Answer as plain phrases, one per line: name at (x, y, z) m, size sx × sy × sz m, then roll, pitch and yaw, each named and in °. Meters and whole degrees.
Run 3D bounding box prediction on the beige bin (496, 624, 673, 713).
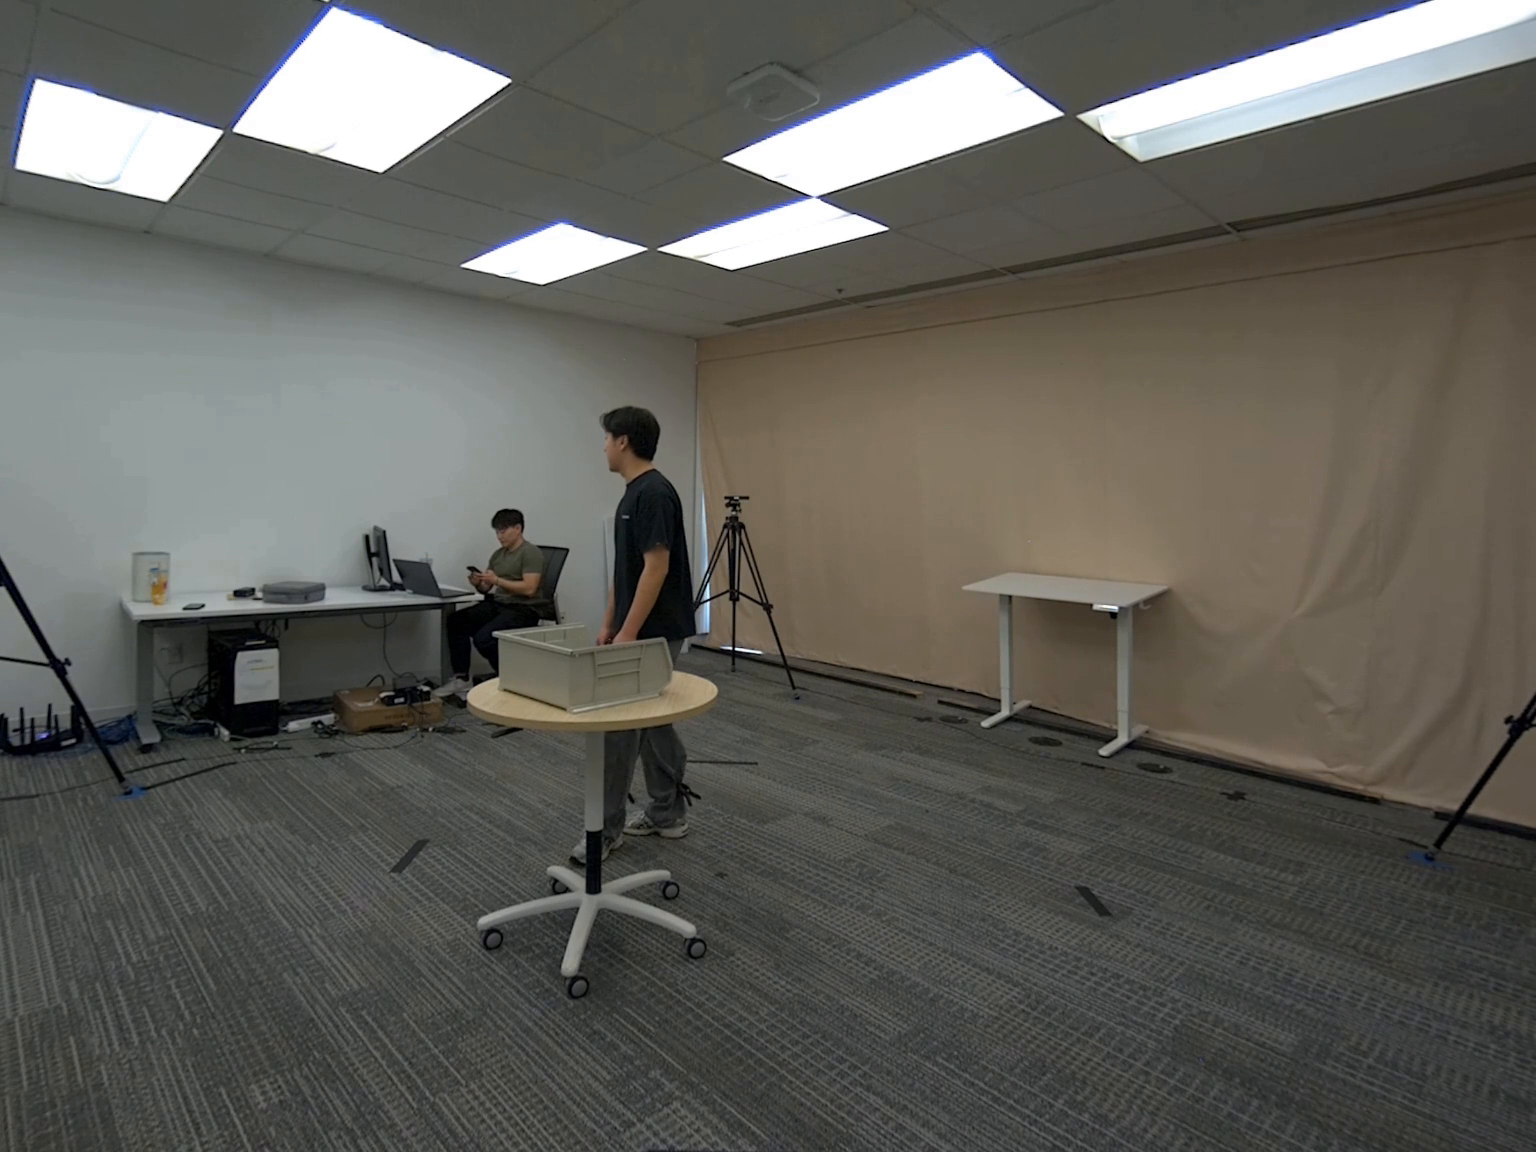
beige bin at (-0.576, 0.272, 2.584) m, size 0.433 × 0.188 × 0.369 m, roll 6°, pitch 7°, yaw 43°
